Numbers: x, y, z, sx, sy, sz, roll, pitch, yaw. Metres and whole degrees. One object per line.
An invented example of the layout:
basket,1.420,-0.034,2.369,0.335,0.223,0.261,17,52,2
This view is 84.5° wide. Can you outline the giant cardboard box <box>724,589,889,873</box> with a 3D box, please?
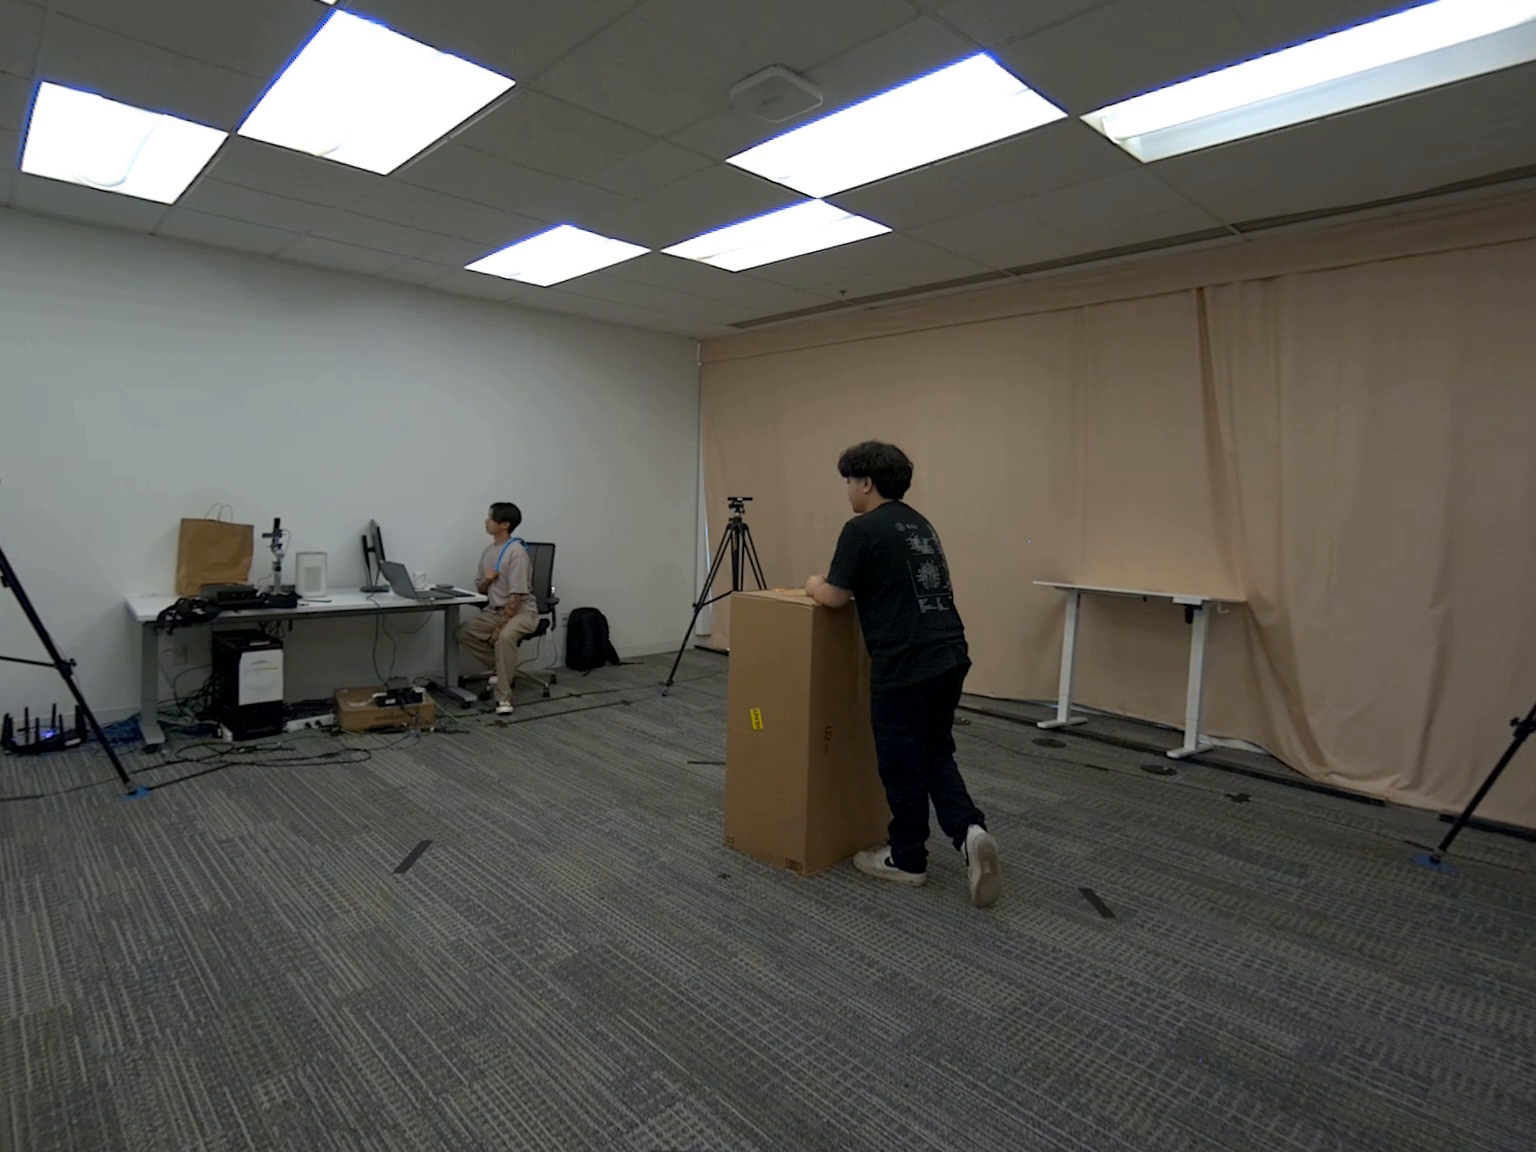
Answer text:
giant cardboard box,0.172,0.577,3.439,0.458,1.025,0.570,4,3,44
